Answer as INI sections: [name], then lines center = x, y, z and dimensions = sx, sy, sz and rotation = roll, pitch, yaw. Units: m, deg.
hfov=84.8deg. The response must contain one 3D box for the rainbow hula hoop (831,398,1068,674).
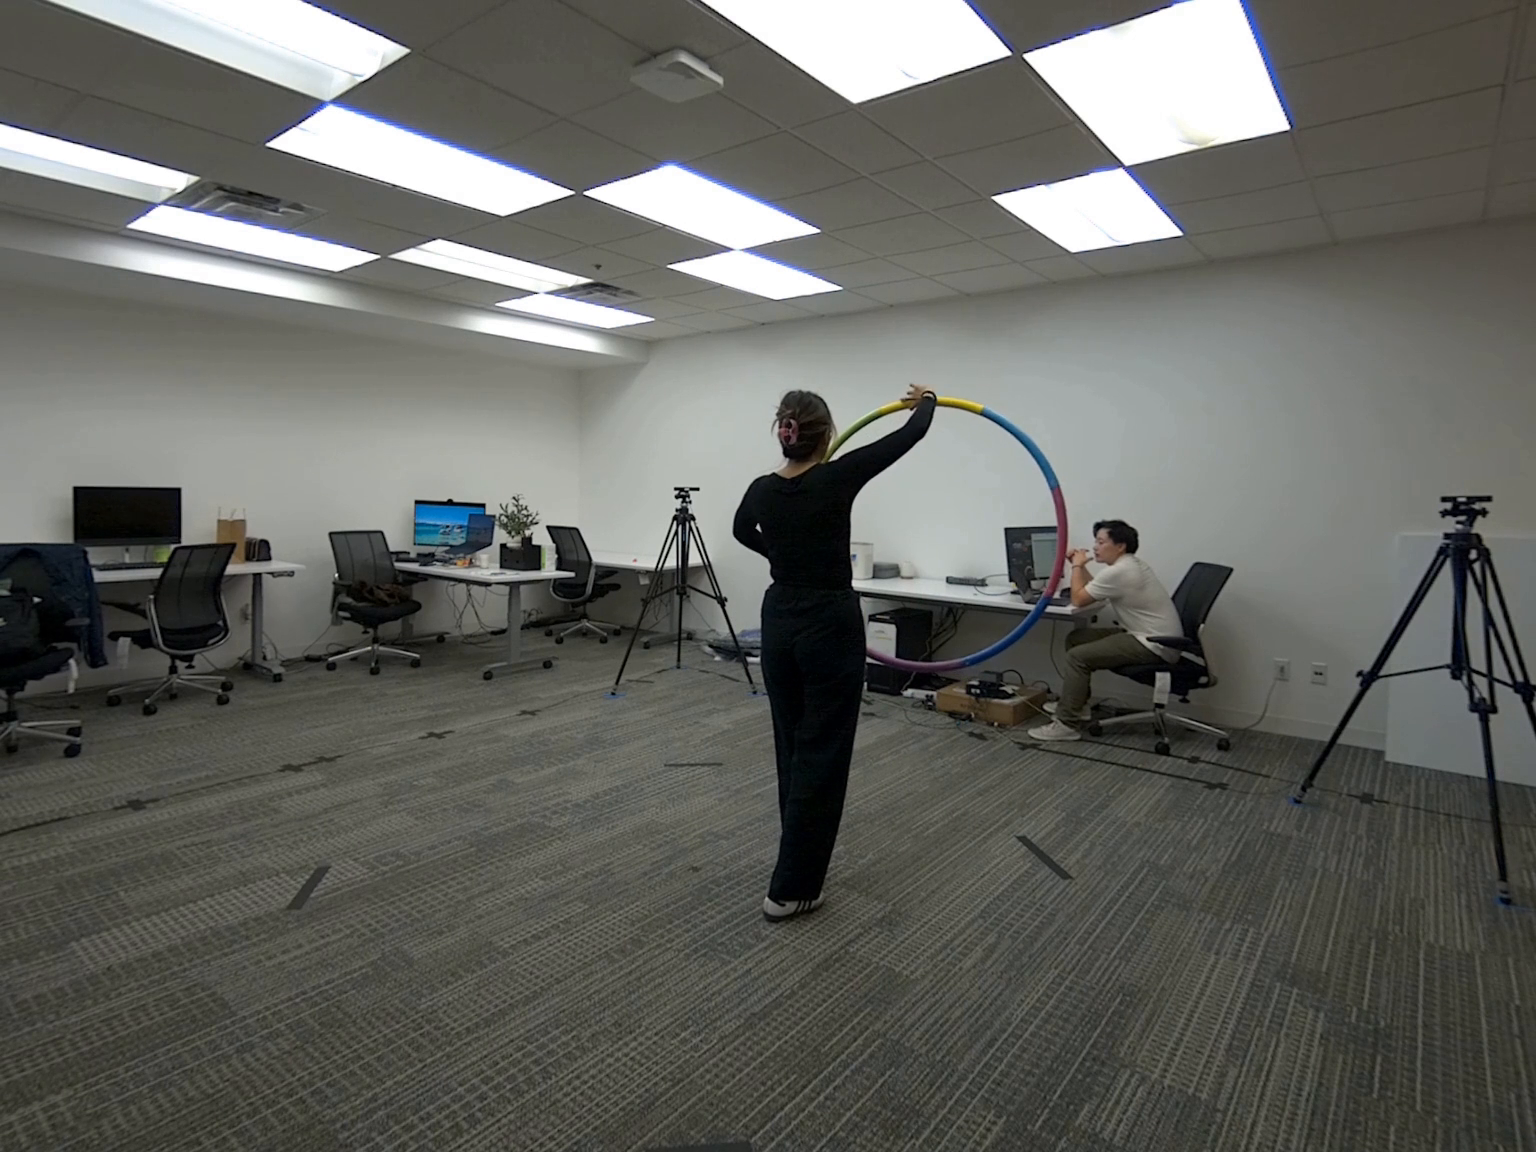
[rainbow hula hoop]
center = 0.540, -0.157, 3.064
dimensions = 1.013, 0.986, 0.050
rotation = 3, -1, 29
